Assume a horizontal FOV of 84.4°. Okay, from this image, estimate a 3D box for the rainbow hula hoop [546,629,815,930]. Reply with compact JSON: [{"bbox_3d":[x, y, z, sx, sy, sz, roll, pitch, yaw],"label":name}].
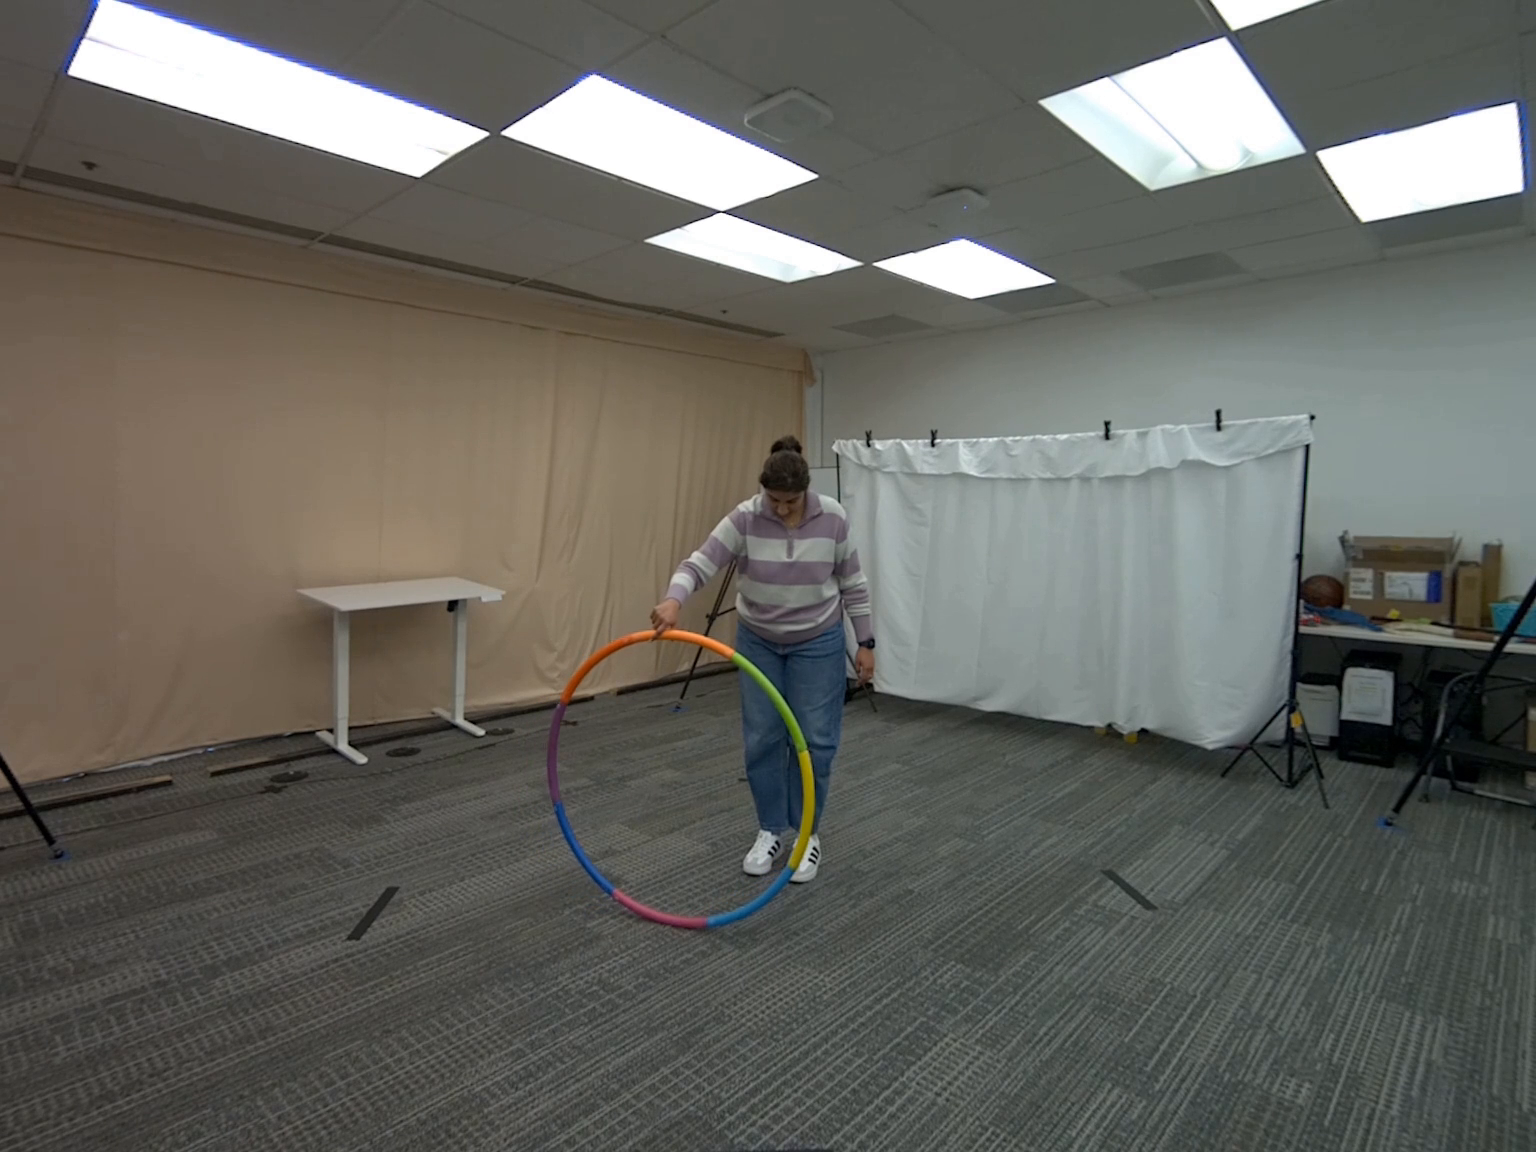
[{"bbox_3d":[-0.324,0.675,2.802,1.002,0.978,0.035,2,1,23],"label":"rainbow hula hoop"}]
